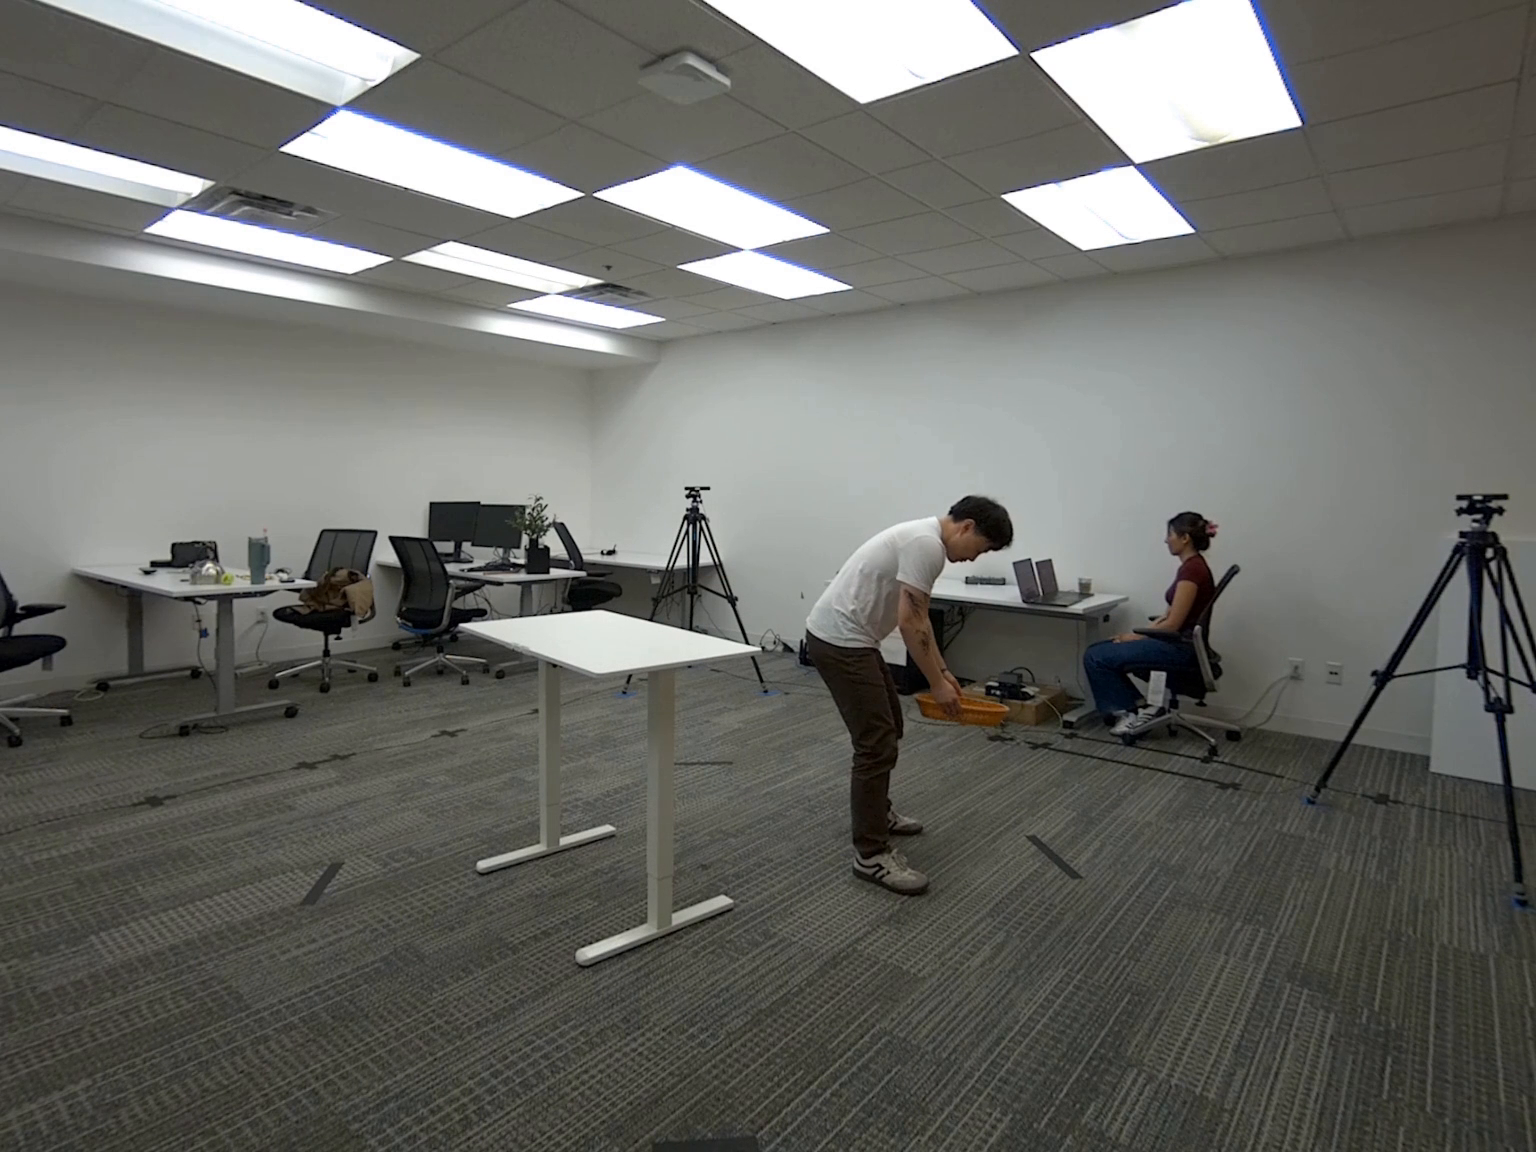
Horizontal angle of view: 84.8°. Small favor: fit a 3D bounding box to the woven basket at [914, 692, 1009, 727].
[{"bbox_3d":[0.721,0.507,3.202,0.355,0.073,0.249,5,2,12],"label":"woven basket"}]
